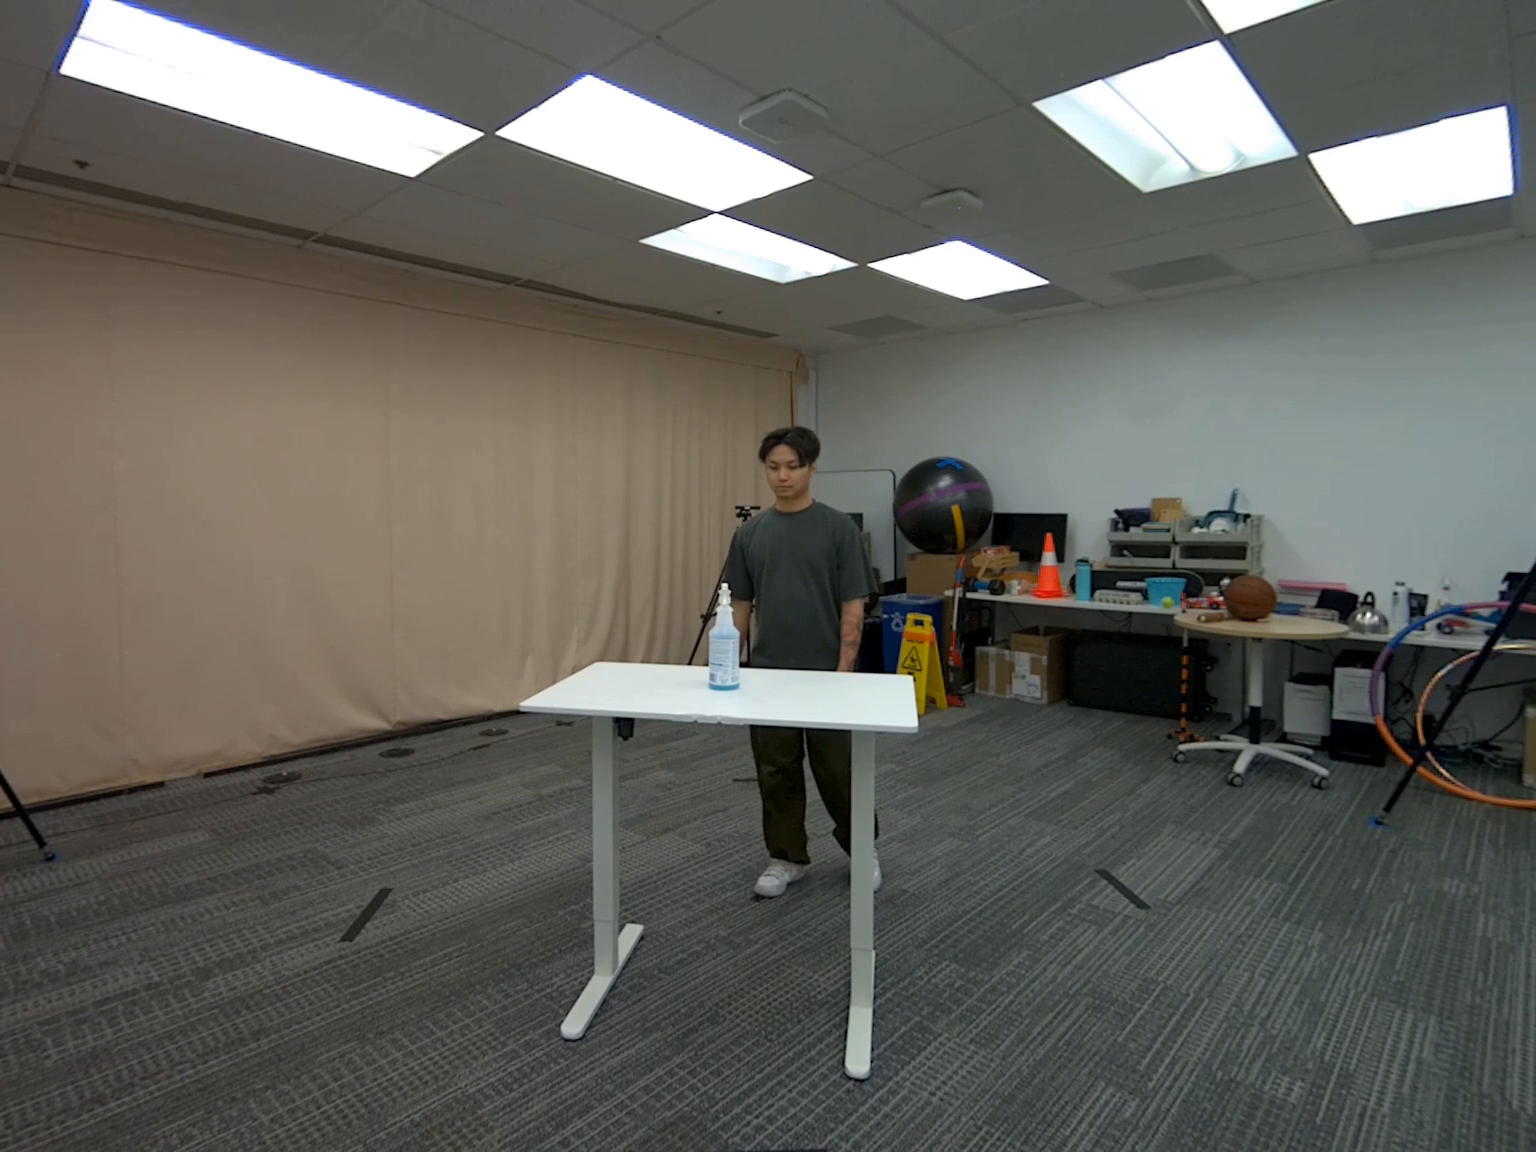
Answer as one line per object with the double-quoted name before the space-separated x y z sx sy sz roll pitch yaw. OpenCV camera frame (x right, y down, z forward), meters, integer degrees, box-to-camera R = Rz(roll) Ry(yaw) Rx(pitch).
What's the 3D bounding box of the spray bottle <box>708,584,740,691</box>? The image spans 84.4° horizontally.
"spray bottle" -0.121 0.169 2.362 0.089 0.296 0.088 5 5 24
